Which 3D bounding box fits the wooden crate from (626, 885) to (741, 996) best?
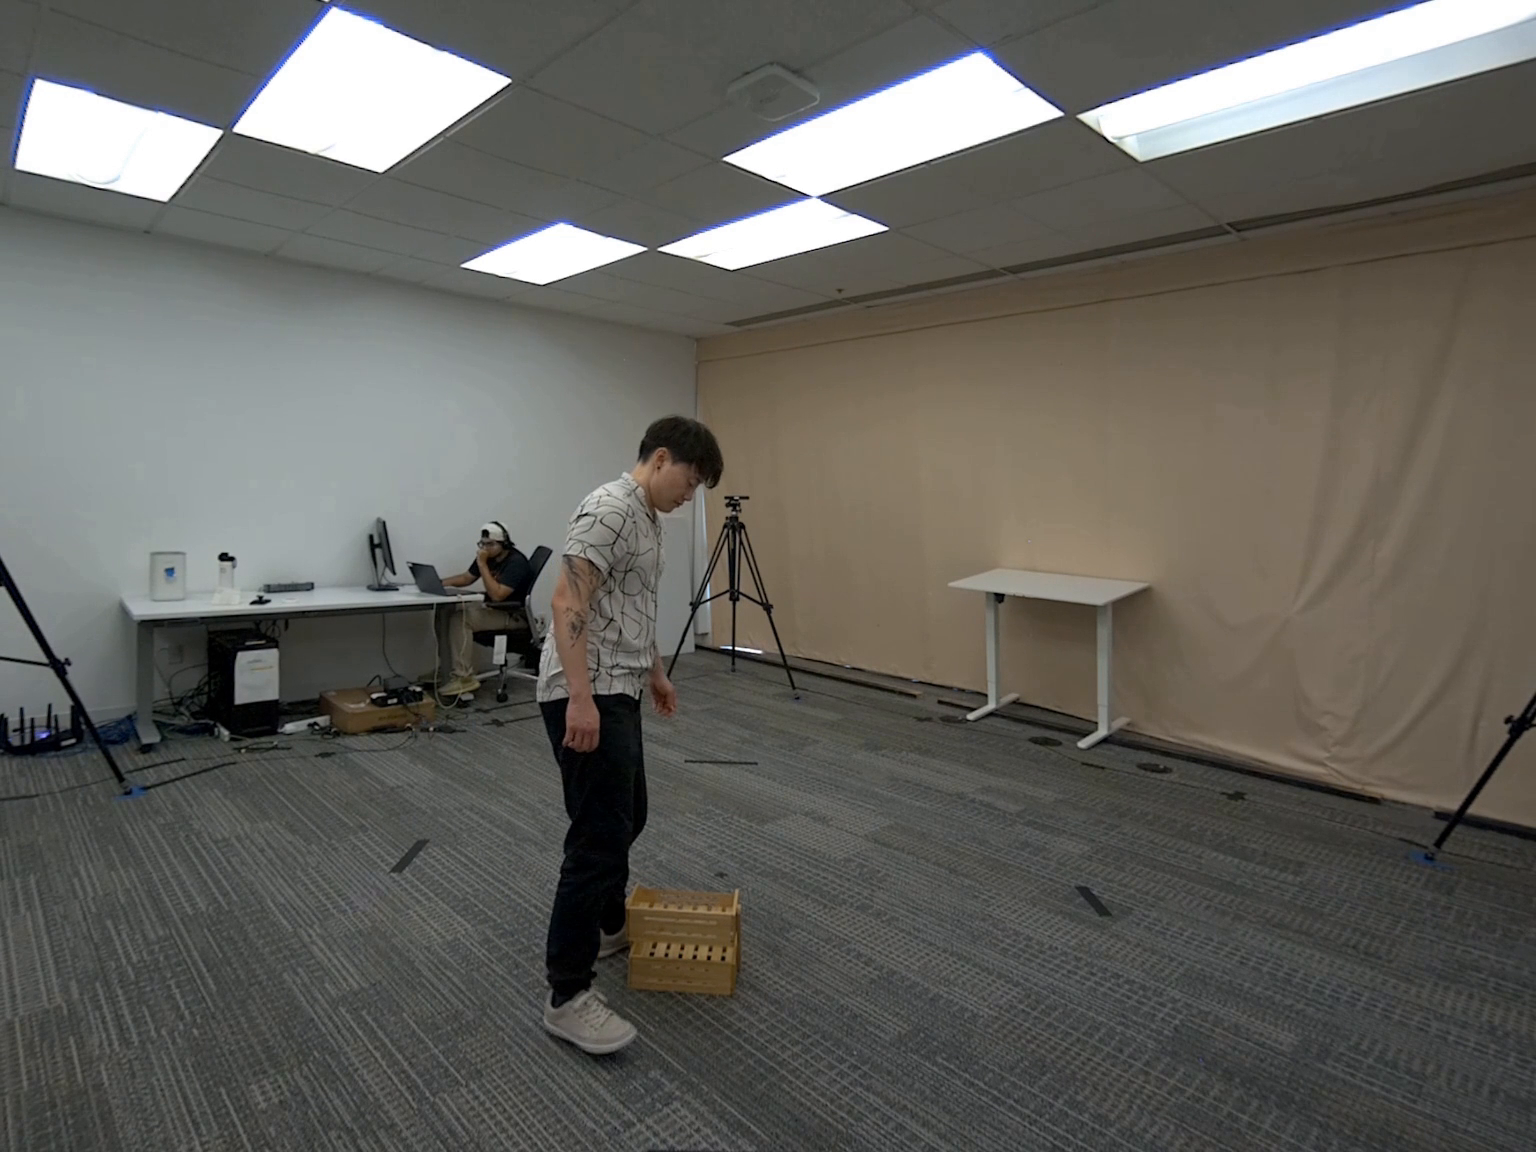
[{"bbox_3d":[-0.241,1.028,2.452,0.325,0.272,0.302,1,4,2],"label":"wooden crate"}]
